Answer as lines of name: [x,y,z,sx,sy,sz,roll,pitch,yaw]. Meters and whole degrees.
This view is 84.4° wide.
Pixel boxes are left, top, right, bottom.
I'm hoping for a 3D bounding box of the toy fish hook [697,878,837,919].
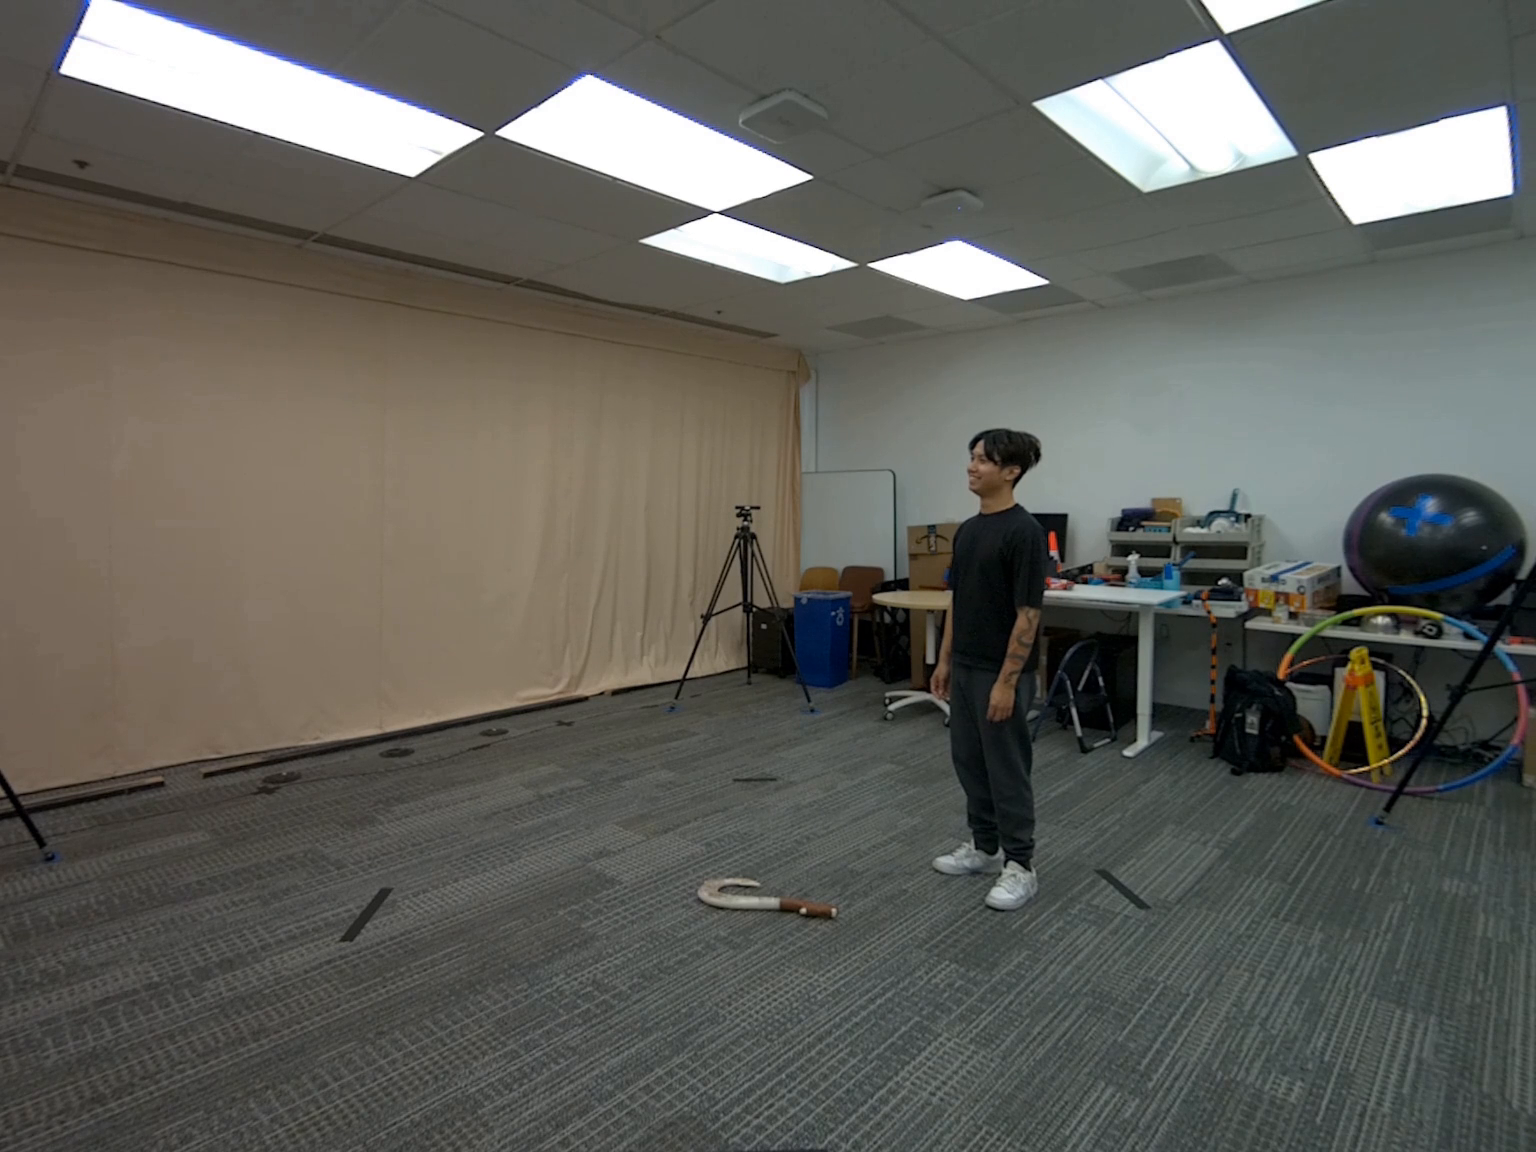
toy fish hook: [0.006,1.126,2.963,0.516,0.048,0.221,1,7,17]
